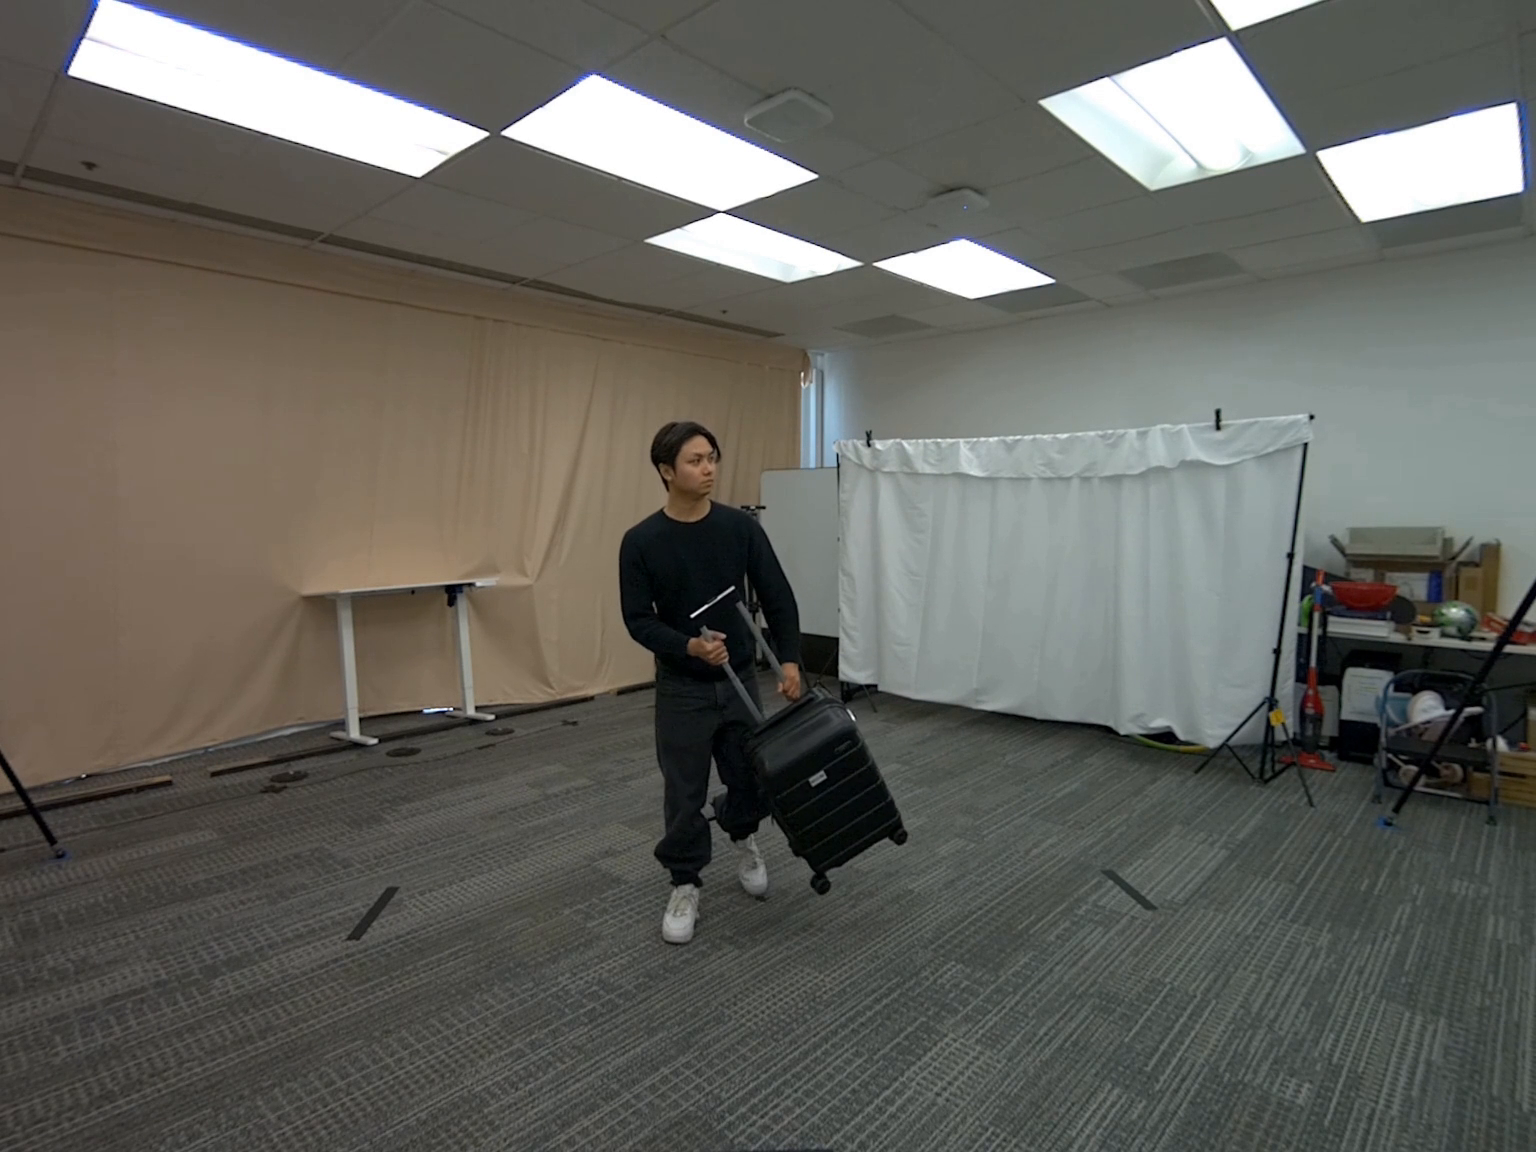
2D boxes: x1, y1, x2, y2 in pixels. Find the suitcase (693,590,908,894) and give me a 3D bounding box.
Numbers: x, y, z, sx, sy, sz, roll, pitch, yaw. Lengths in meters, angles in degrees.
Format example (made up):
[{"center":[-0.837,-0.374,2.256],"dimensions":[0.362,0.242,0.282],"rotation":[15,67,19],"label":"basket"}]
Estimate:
[{"center":[0.099,0.504,2.589],"dimensions":[0.382,0.955,0.264],"rotation":[-30,26,-8],"label":"suitcase"}]
